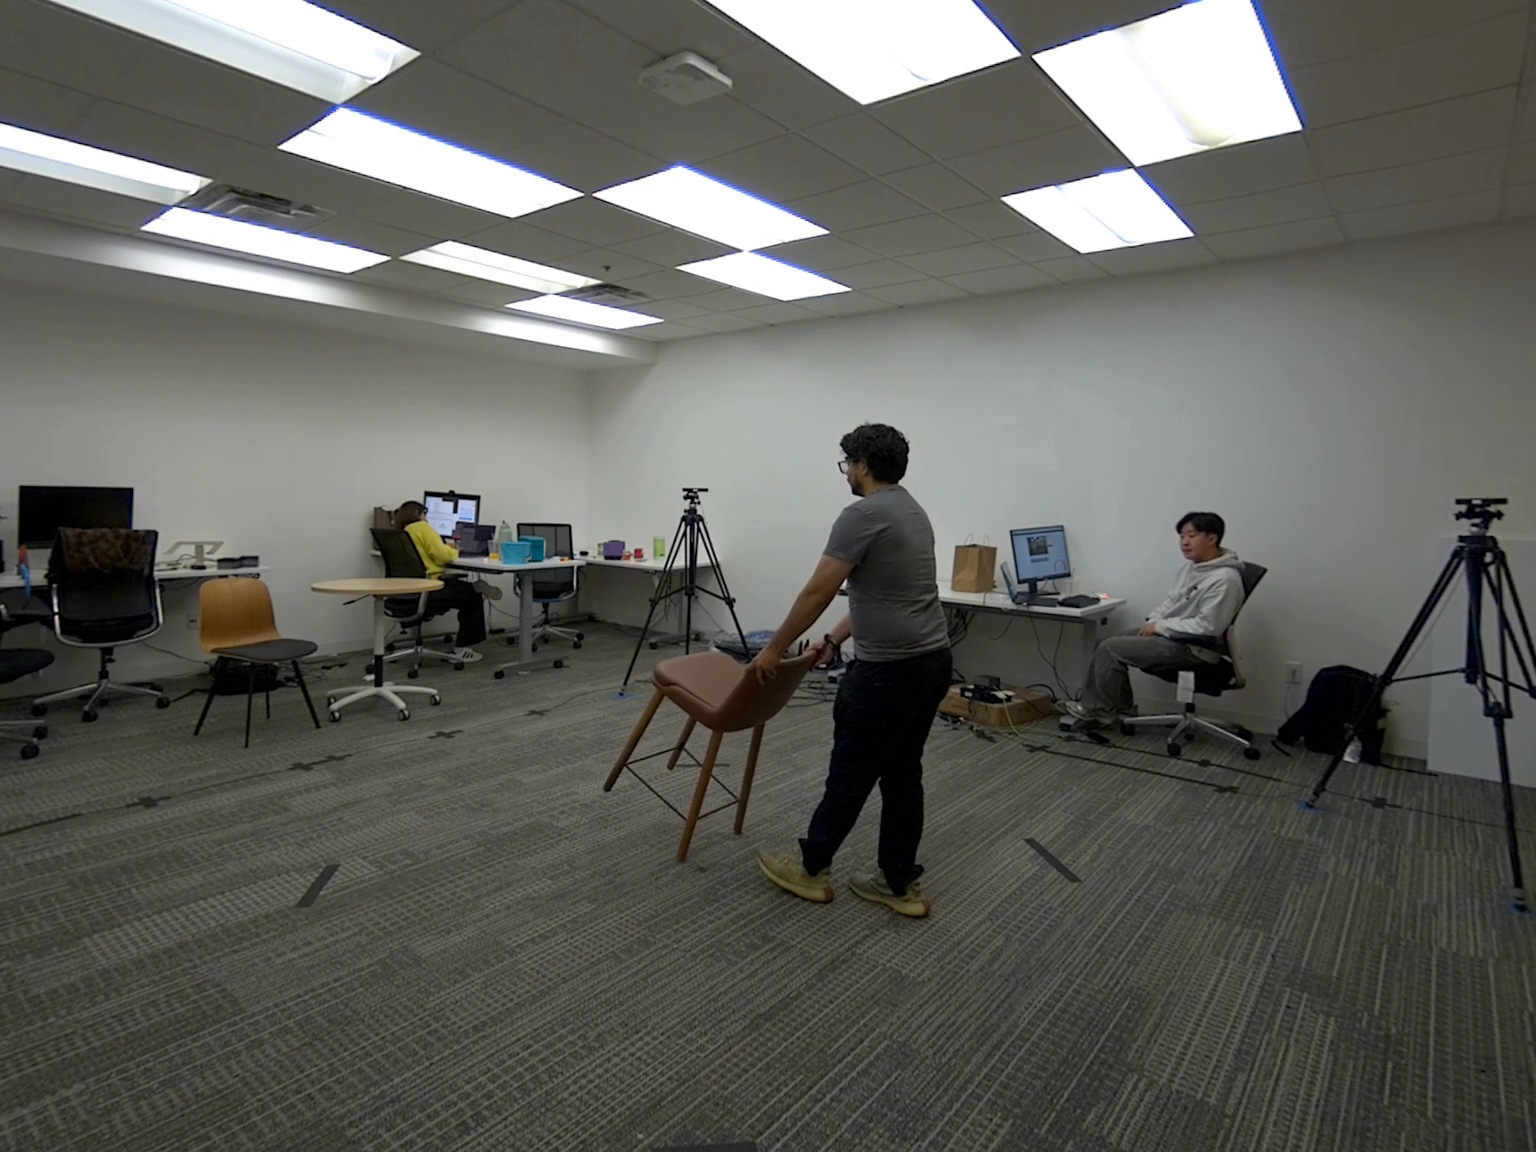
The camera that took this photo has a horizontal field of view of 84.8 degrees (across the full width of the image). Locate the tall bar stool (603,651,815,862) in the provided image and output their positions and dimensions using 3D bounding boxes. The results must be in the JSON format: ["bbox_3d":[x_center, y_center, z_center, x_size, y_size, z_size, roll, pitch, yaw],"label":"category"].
[{"bbox_3d":[-0.230,0.565,3.301,0.486,0.882,0.443,35,22,31],"label":"tall bar stool"}]
